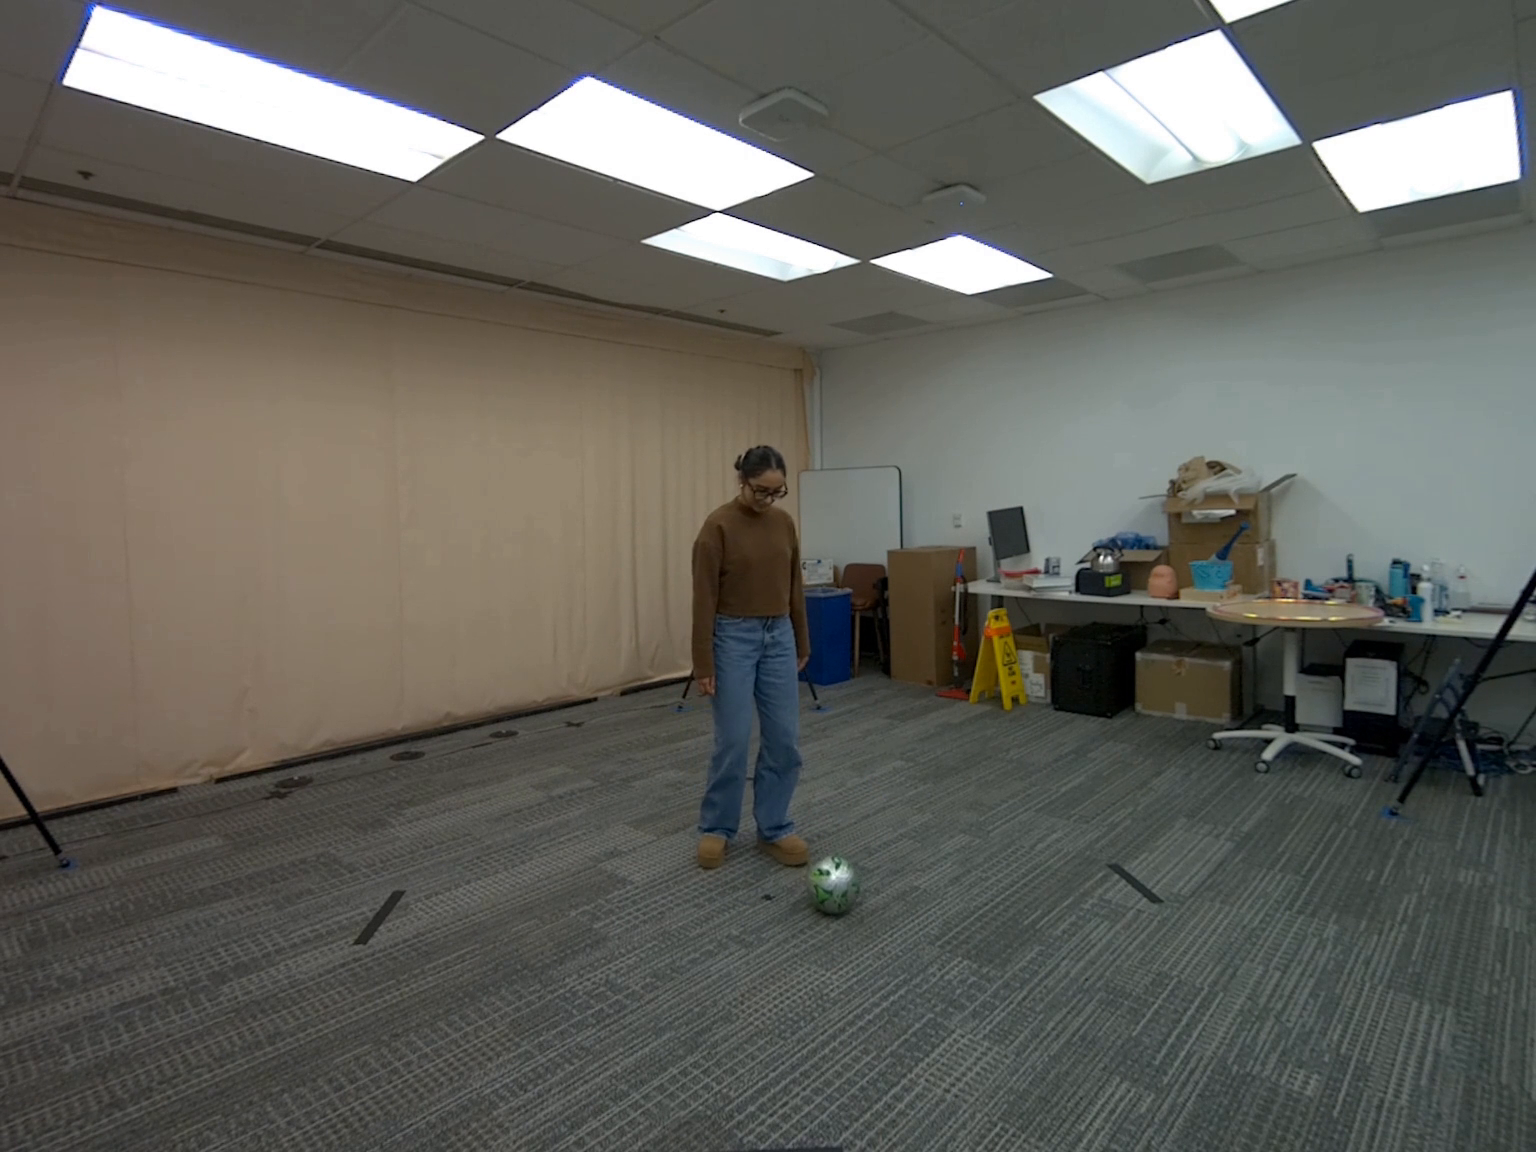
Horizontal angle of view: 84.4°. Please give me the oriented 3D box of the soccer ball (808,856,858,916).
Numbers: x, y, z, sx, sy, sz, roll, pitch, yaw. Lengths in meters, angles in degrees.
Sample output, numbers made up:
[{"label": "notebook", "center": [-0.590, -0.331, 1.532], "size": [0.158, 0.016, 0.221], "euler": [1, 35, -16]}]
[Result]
[{"label": "soccer ball", "center": [0.224, 1.052, 2.874], "size": [0.187, 0.187, 0.188], "euler": [-1, 4, -2]}]
